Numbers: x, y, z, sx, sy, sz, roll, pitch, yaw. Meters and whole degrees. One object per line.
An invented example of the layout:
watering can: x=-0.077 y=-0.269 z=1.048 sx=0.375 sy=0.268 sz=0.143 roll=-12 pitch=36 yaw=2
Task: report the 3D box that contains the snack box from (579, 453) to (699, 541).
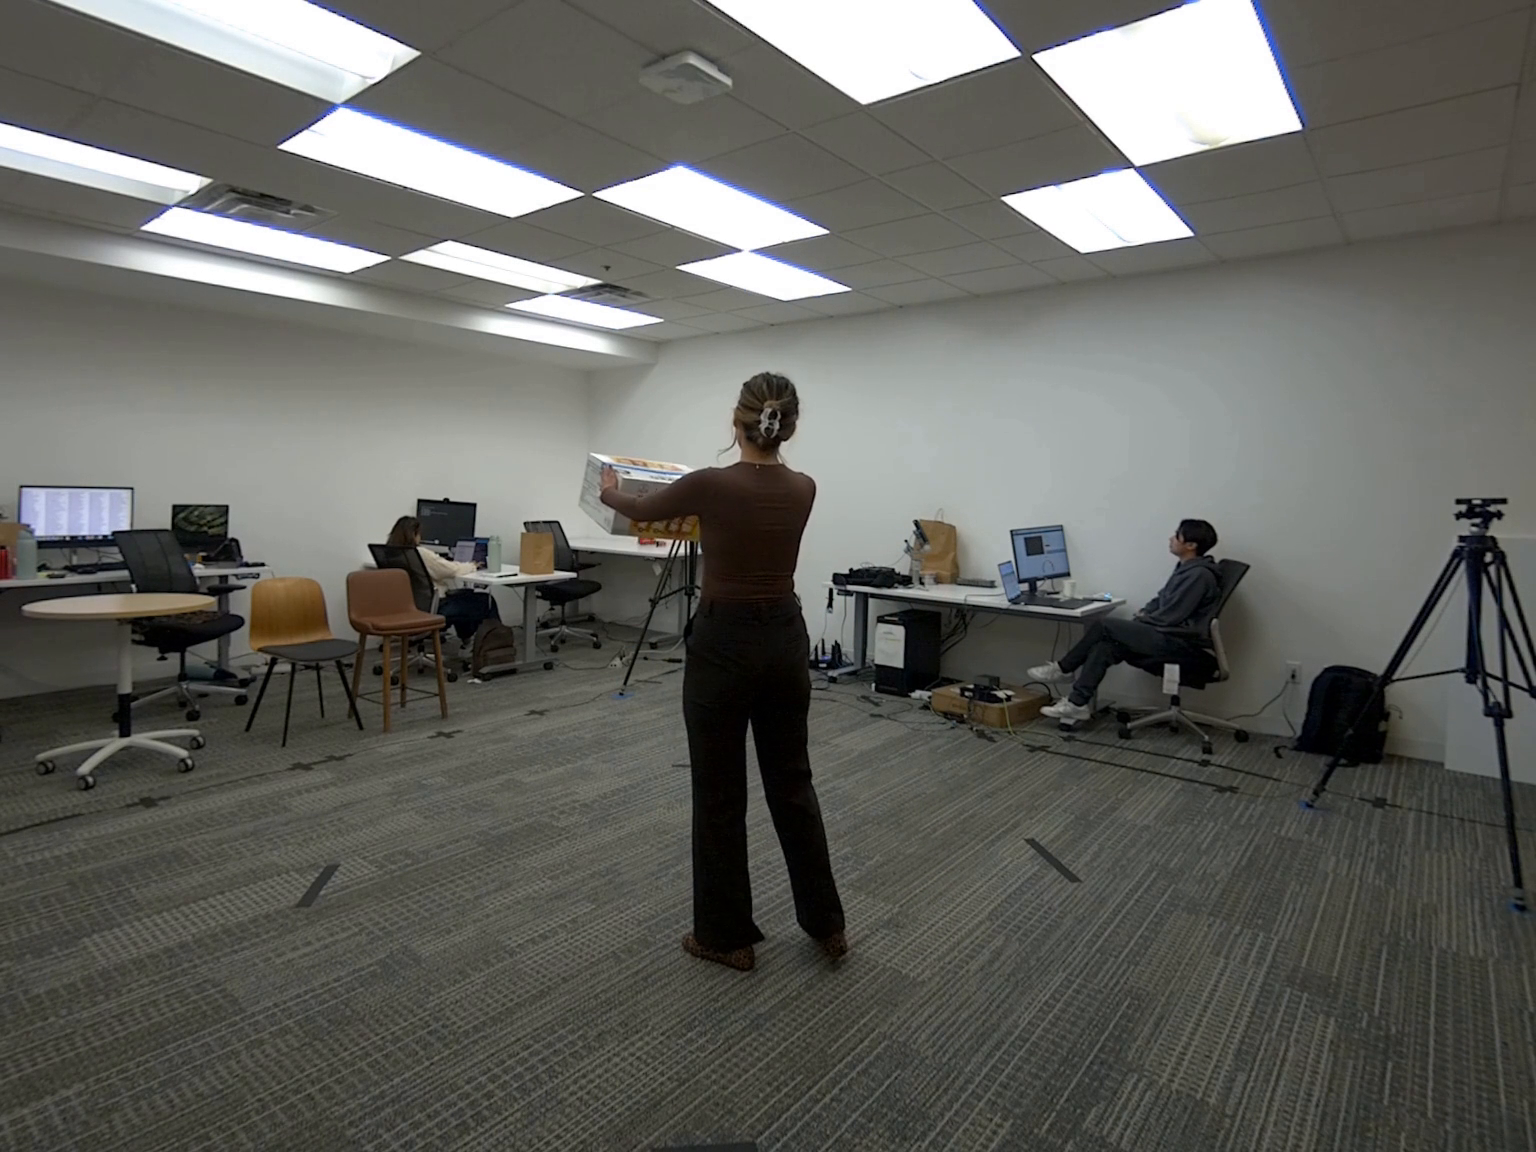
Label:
snack box: x=-0.422 y=-0.273 z=3.022 sx=0.393 sy=0.204 sz=0.354 roll=4 pitch=18 yaw=-32
